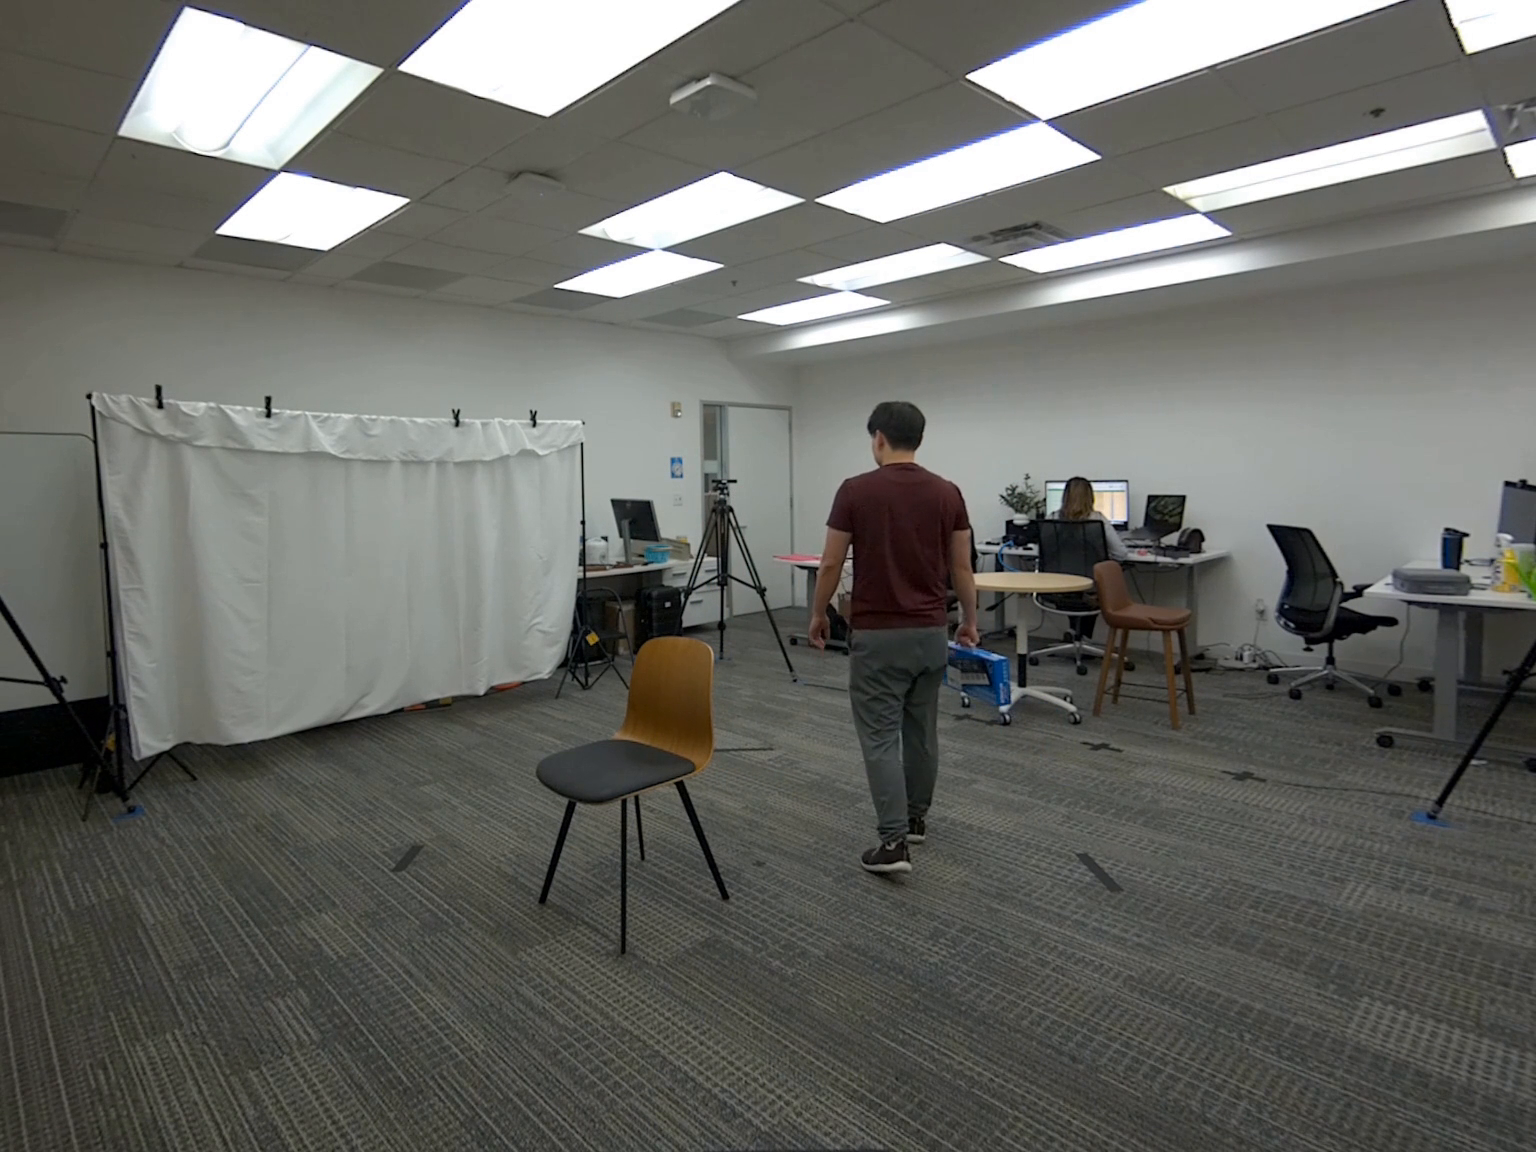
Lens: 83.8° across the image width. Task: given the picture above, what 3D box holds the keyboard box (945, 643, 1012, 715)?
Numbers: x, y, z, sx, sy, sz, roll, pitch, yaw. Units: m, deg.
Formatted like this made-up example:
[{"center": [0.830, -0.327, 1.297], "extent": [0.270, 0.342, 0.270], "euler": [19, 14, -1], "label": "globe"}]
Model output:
[{"center": [0.772, 0.362, 3.294], "extent": [0.058, 0.175, 0.445], "euler": [-7, 6, -17], "label": "keyboard box"}]
